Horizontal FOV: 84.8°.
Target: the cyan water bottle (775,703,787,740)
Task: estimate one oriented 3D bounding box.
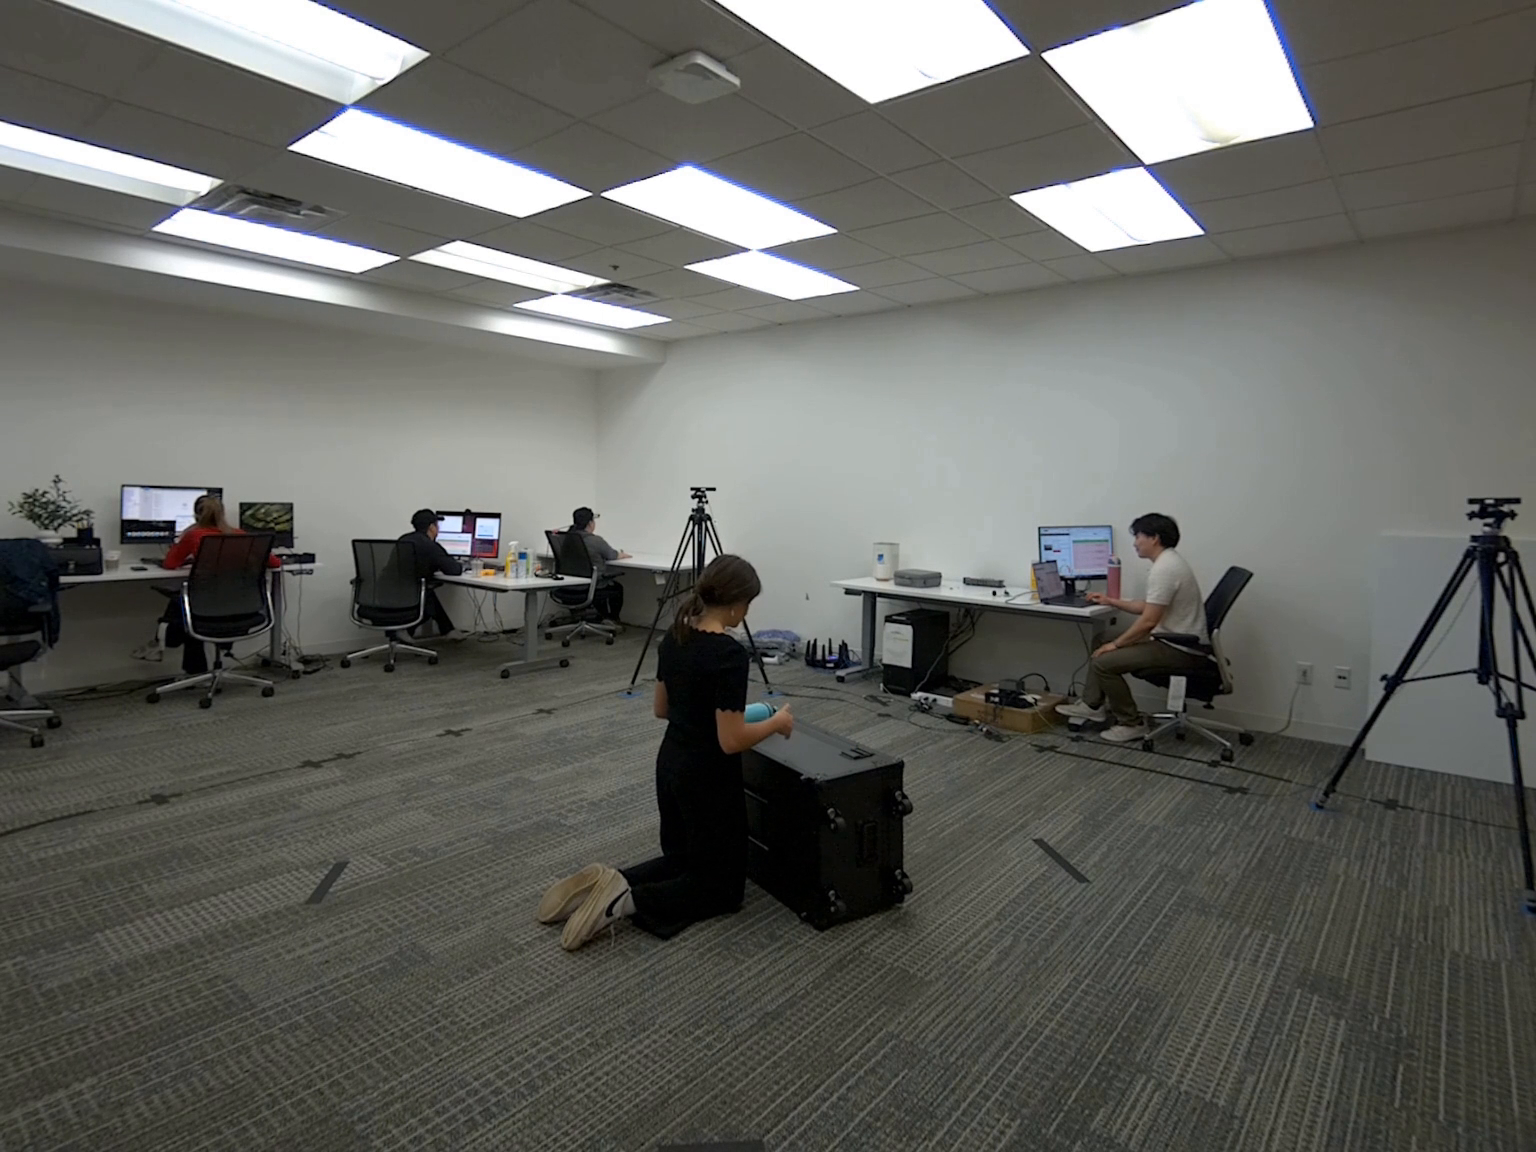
[{"bbox_3d":[-0.095,0.522,3.189,0.275,0.092,0.095,-5,7,-39],"label":"cyan water bottle"}]
